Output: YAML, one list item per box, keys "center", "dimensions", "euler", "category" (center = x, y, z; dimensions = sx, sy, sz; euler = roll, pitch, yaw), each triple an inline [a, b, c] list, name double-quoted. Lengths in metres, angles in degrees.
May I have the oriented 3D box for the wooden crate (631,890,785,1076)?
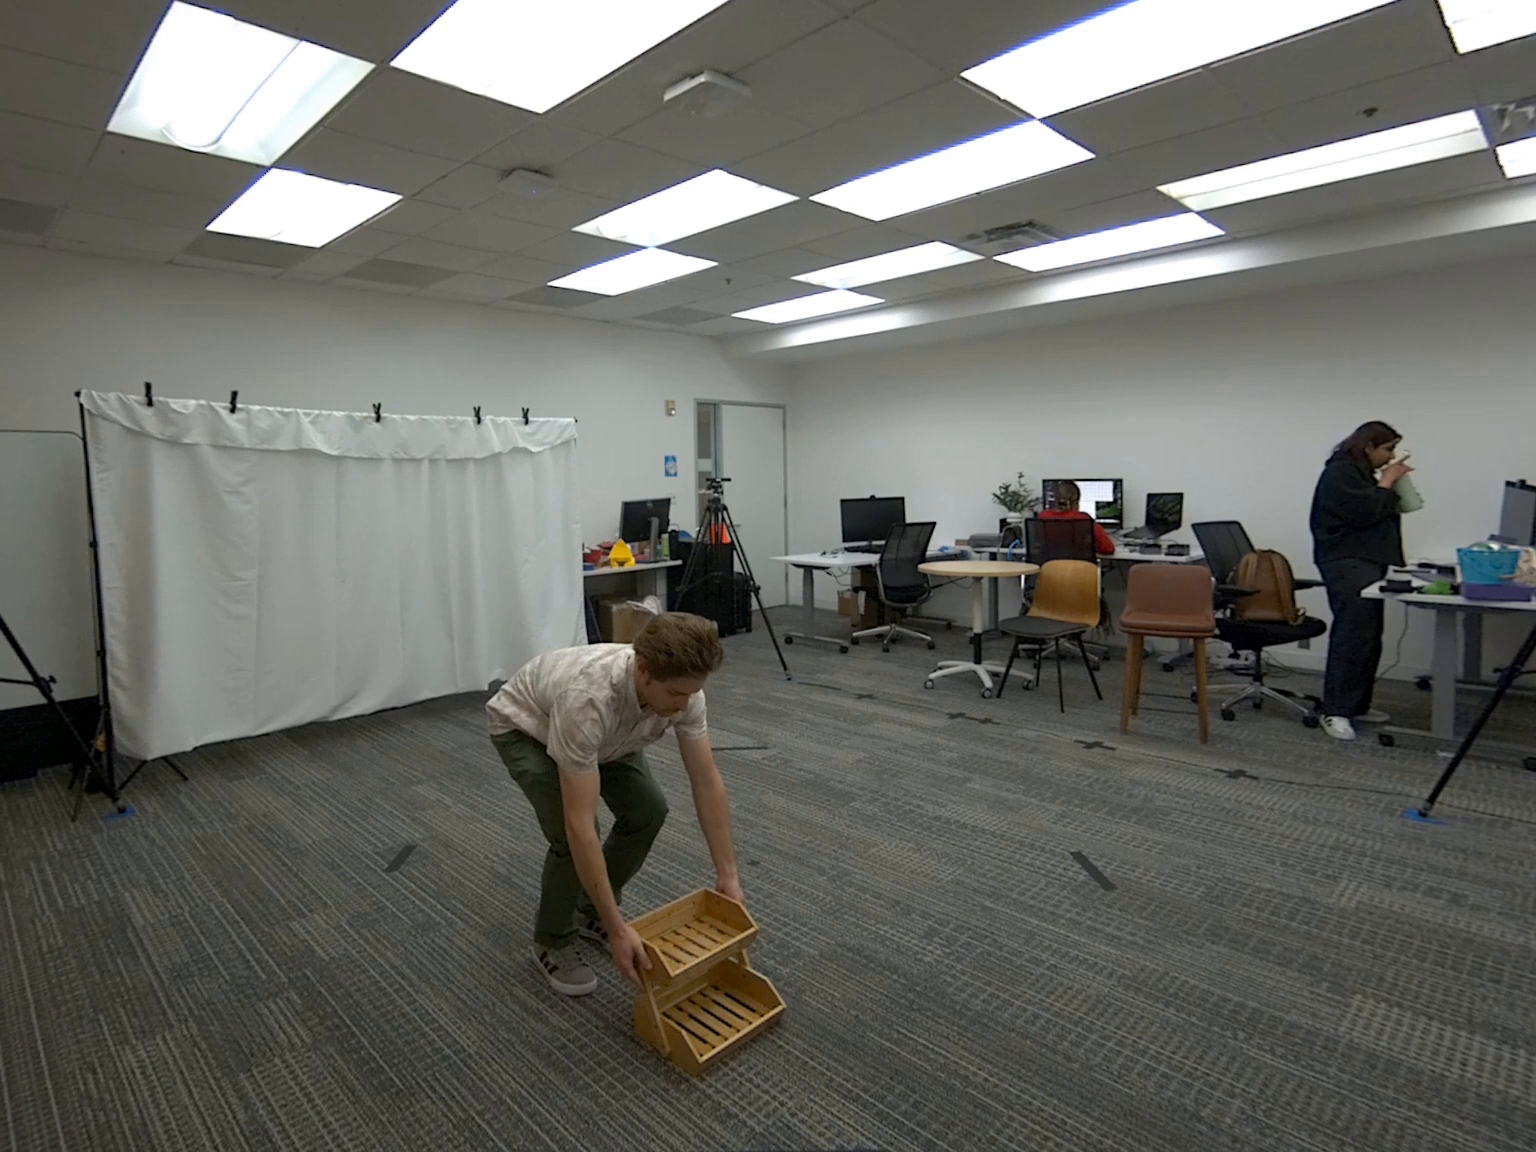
- center: [-0.160, 1.021, 2.186]
  dimensions: [0.311, 0.272, 0.316]
  euler: [3, 7, 45]
  category: "wooden crate"
